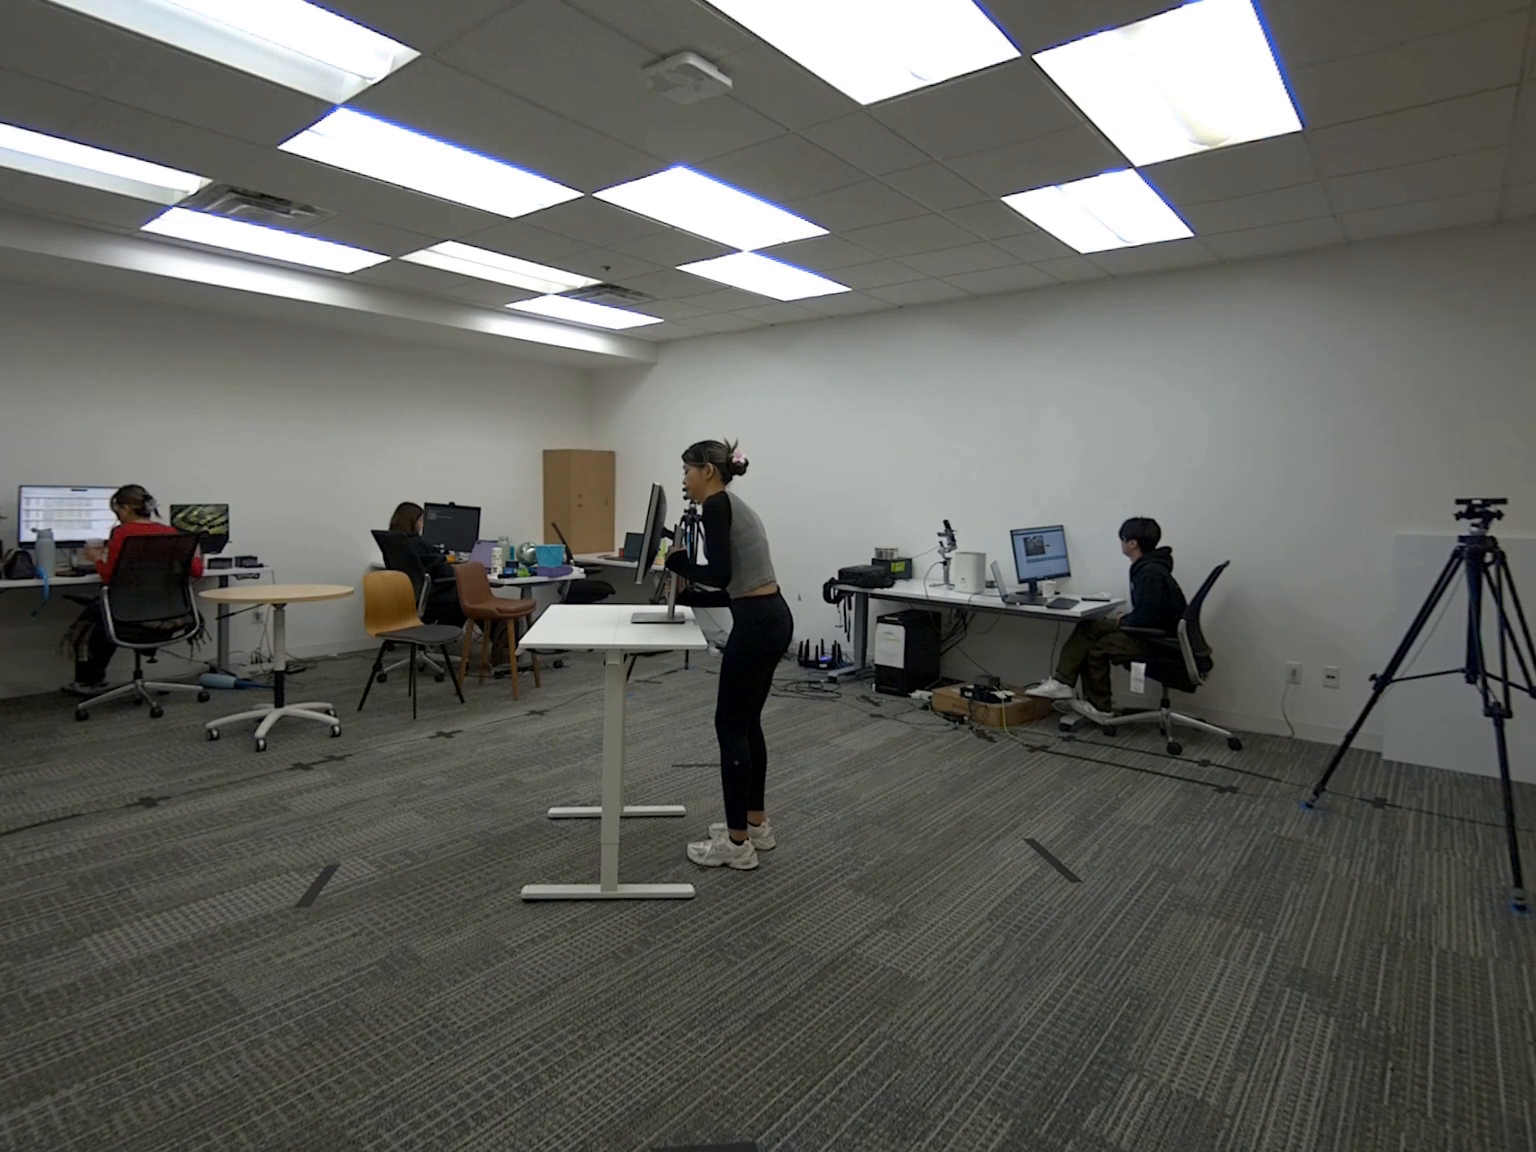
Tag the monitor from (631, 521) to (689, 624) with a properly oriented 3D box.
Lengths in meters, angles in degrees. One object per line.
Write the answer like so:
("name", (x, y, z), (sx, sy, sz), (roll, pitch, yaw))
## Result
("monitor", (-0.429, -0.092, 3.288), (0.186, 0.521, 0.544), (-1, 4, -8))
